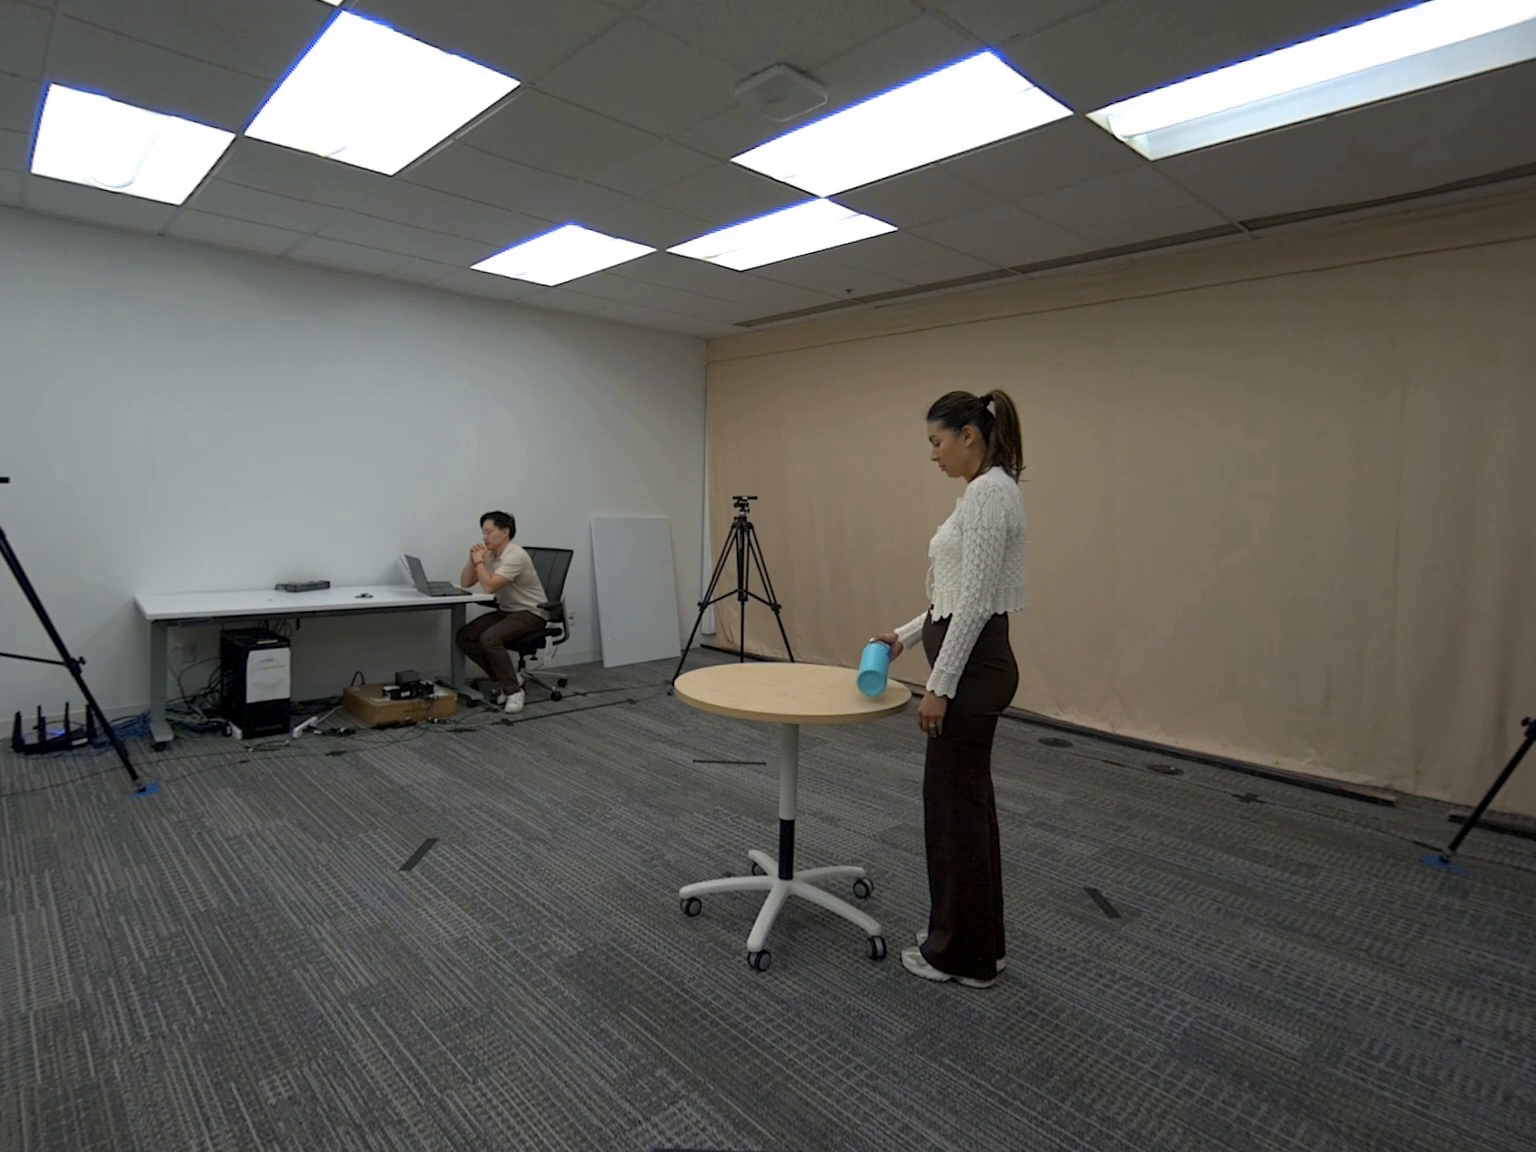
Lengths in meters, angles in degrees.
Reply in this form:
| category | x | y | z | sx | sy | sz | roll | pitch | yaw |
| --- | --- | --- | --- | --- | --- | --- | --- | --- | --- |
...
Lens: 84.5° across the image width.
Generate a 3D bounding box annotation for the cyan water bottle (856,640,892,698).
| category | x | y | z | sx | sy | sz | roll | pitch | yaw |
| --- | --- | --- | --- | --- | --- | --- | --- | --- | --- |
| cyan water bottle | 0.335 | 0.280 | 2.636 | 0.093 | 0.091 | 0.283 | 2 | 17 | 13 |
